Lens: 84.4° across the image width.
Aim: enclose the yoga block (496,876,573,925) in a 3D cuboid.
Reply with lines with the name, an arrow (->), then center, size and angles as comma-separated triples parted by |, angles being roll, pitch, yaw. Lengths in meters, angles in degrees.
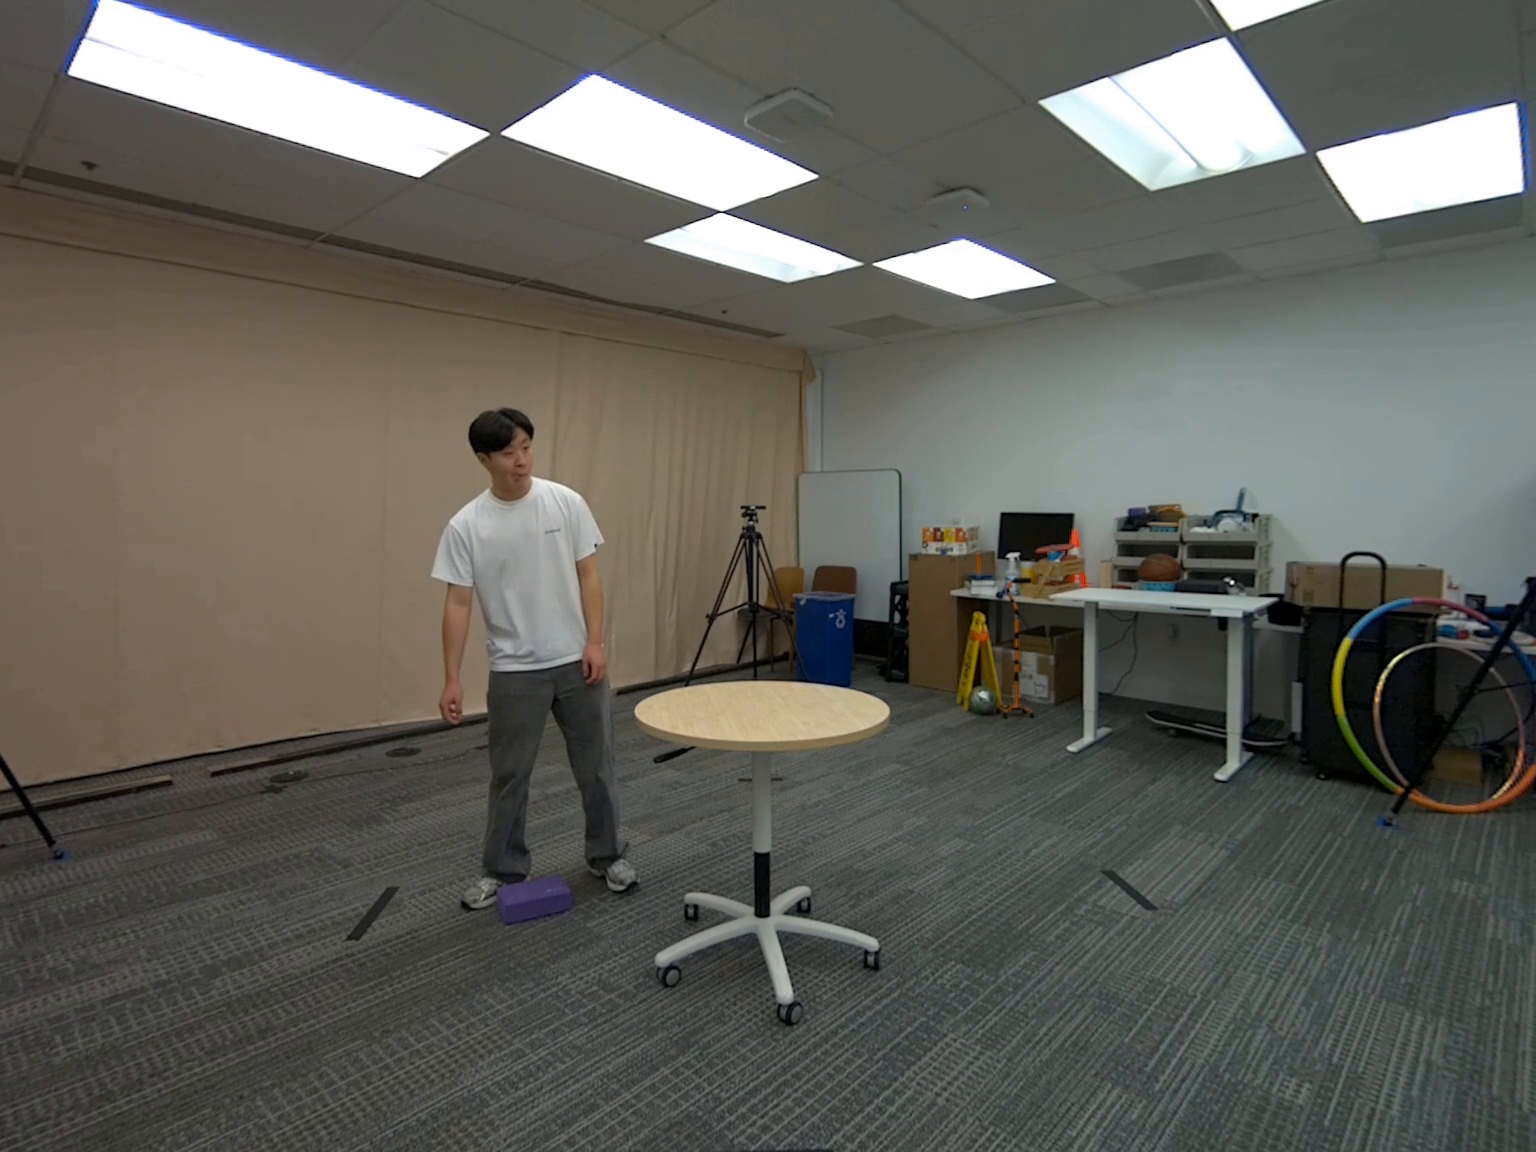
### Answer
yoga block -> -0.805, 1.117, 2.910 | 0.223, 0.076, 0.153 | -4, 5, -29
